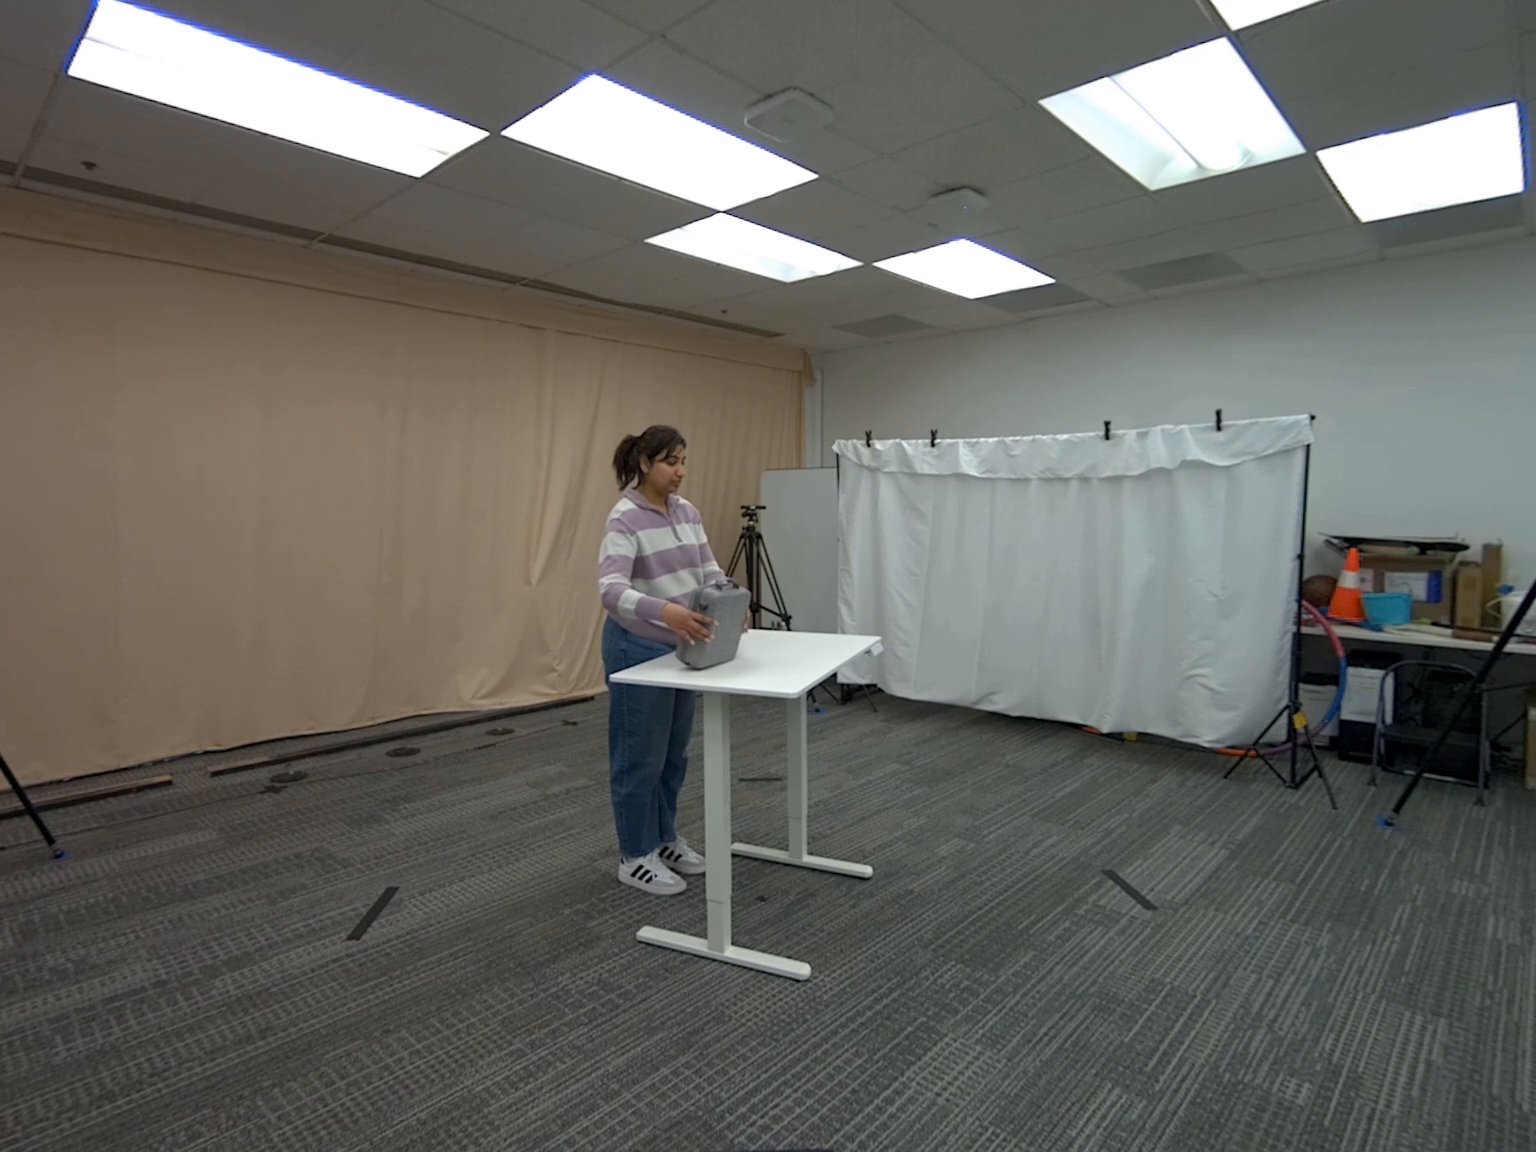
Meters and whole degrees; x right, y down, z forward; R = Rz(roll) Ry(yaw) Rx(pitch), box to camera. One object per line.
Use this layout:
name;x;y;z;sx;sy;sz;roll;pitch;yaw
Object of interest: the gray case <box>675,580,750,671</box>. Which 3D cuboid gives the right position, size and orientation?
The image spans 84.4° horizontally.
gray case;-0.163;0.152;2.704;0.107;0.260;0.250;17;9;25
